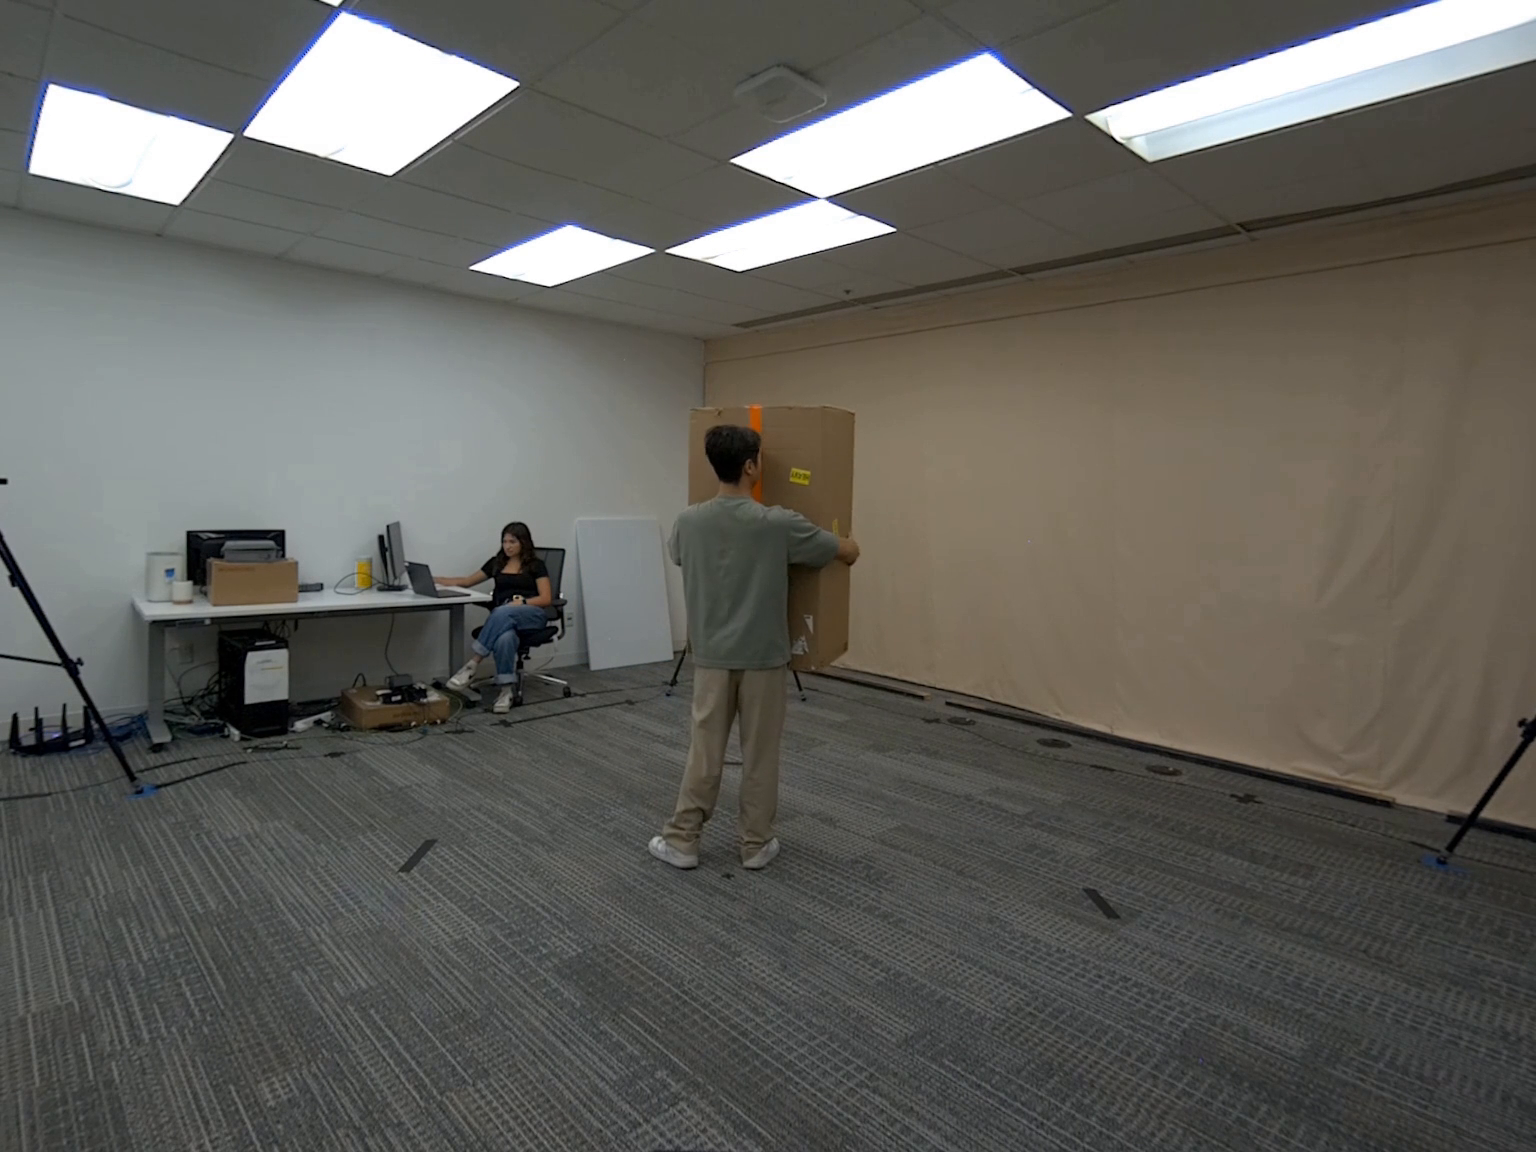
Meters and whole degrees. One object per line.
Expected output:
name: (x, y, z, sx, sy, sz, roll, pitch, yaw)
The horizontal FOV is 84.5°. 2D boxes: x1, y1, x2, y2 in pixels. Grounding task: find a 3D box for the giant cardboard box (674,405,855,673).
giant cardboard box: (0.009, -0.179, 3.499, 0.588, 1.021, 0.420, 4, 7, 23)
